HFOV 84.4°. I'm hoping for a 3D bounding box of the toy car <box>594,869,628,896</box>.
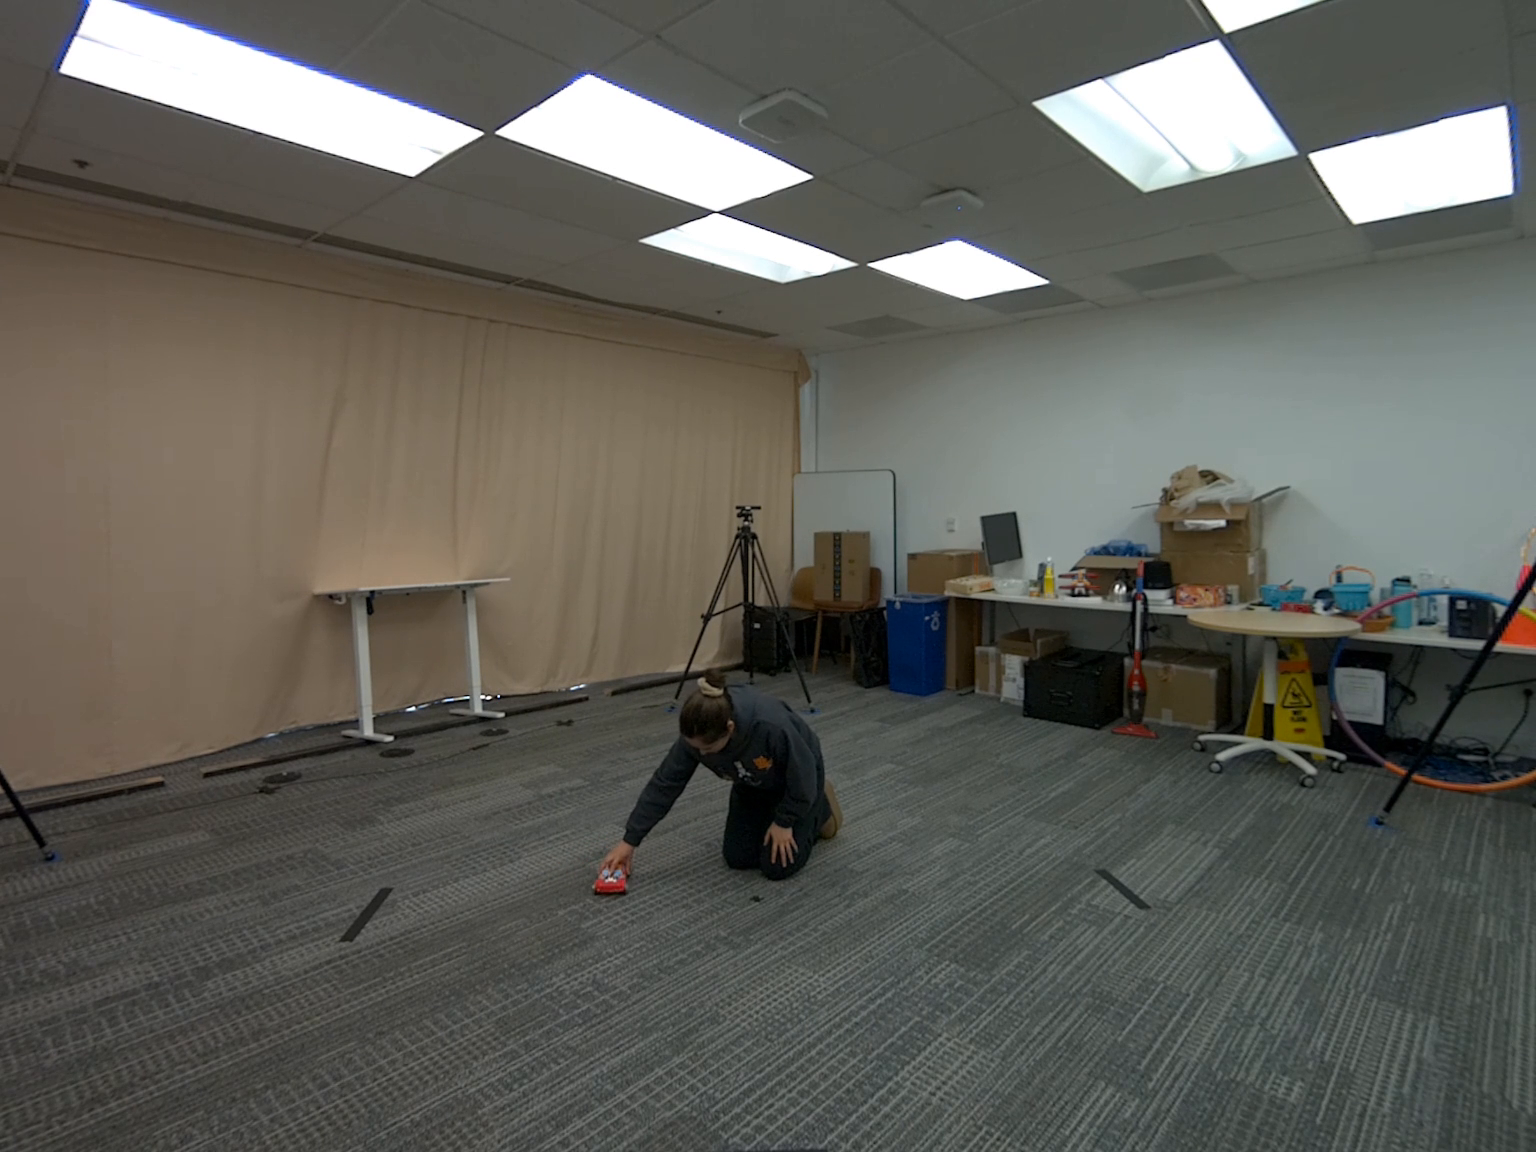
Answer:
[{"bbox_3d":[-0.549,1.109,3.131,0.130,0.082,0.257,-1,13,-2],"label":"toy car"}]
